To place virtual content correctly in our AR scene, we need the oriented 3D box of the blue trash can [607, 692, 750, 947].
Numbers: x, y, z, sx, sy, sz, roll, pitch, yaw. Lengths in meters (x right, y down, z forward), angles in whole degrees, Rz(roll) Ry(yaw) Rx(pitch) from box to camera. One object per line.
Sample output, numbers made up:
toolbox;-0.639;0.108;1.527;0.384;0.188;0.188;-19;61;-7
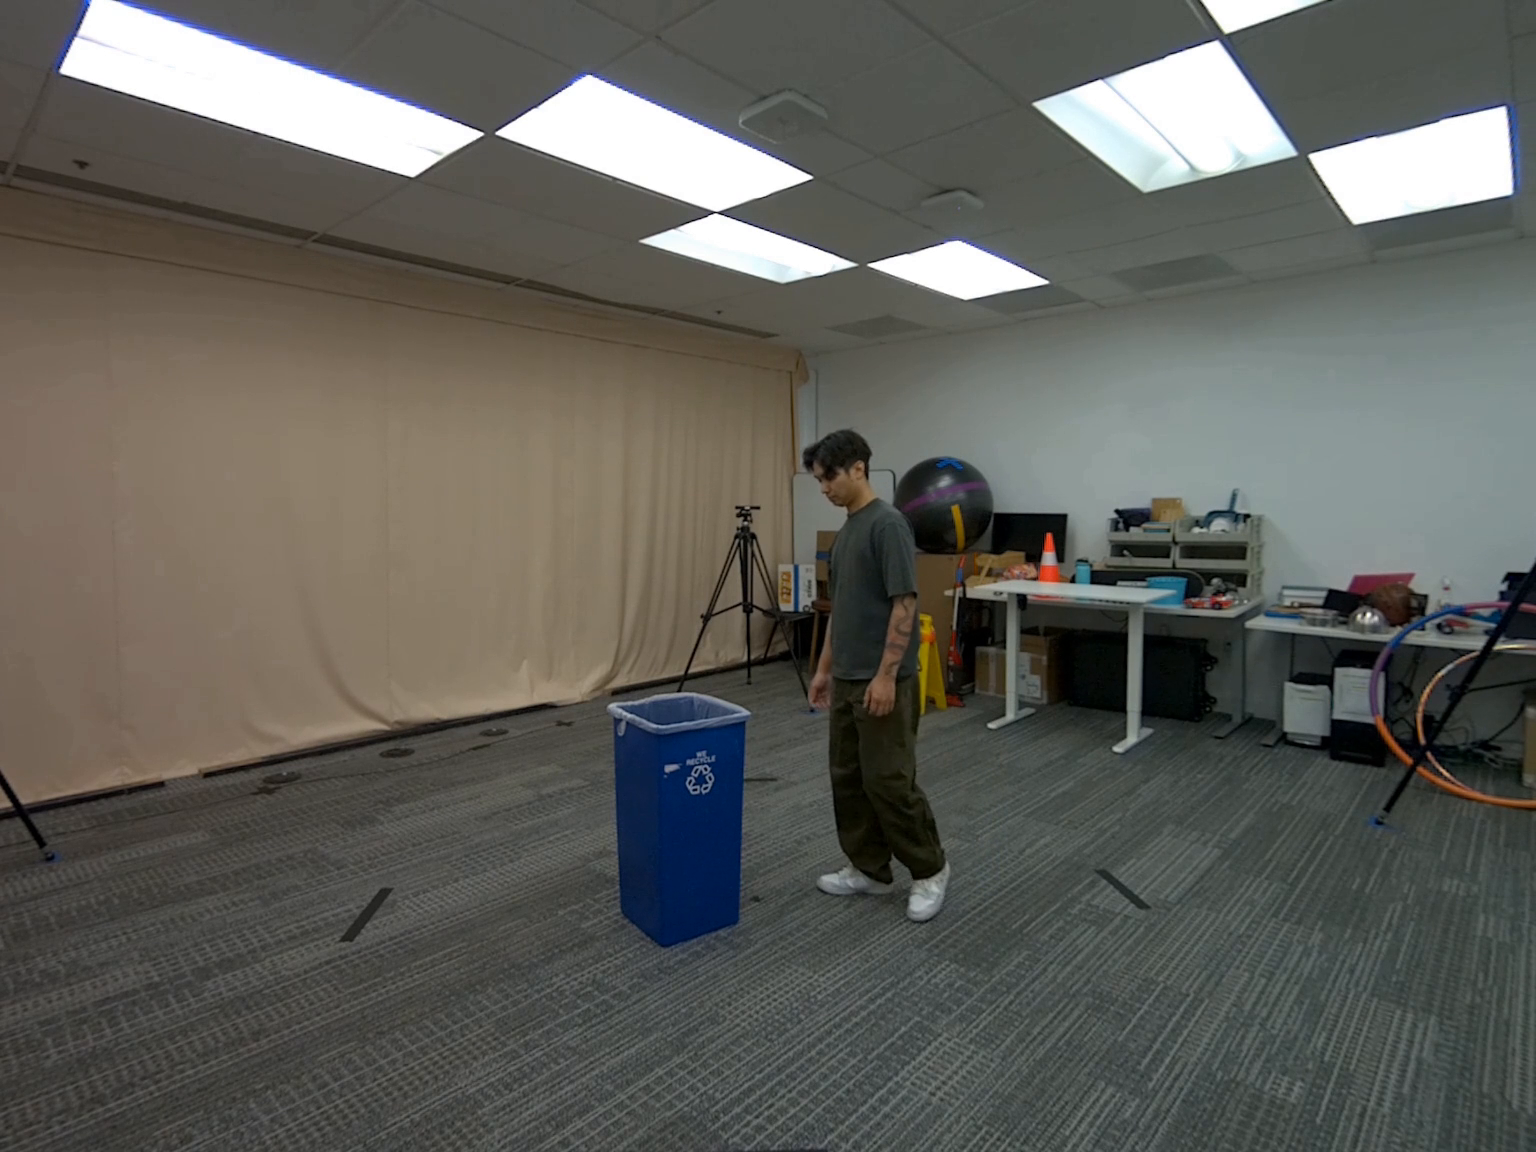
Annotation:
blue trash can;-0.306;0.803;2.845;0.367;0.712;0.386;-2;4;-38
